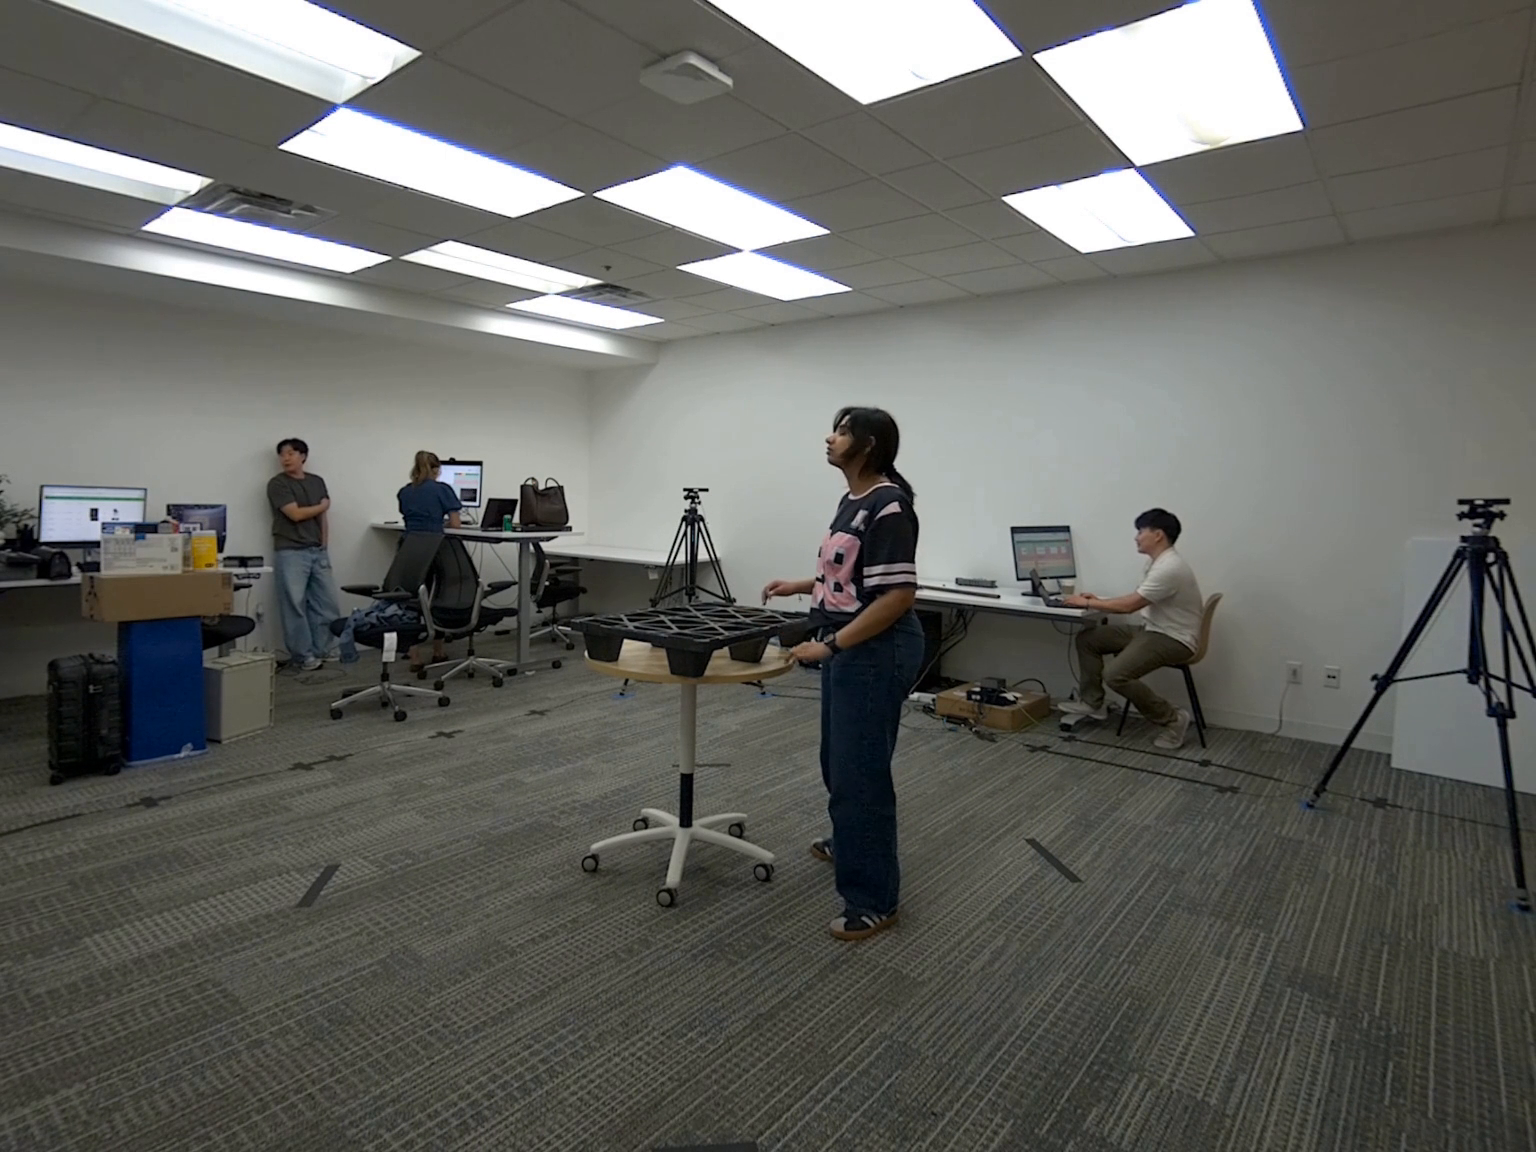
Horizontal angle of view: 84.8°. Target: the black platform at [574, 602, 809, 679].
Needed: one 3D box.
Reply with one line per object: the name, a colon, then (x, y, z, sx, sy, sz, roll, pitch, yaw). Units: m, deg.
black platform: (-0.238, 0.220, 3.127, 0.625, 0.143, 0.783, 6, 7, 34)
